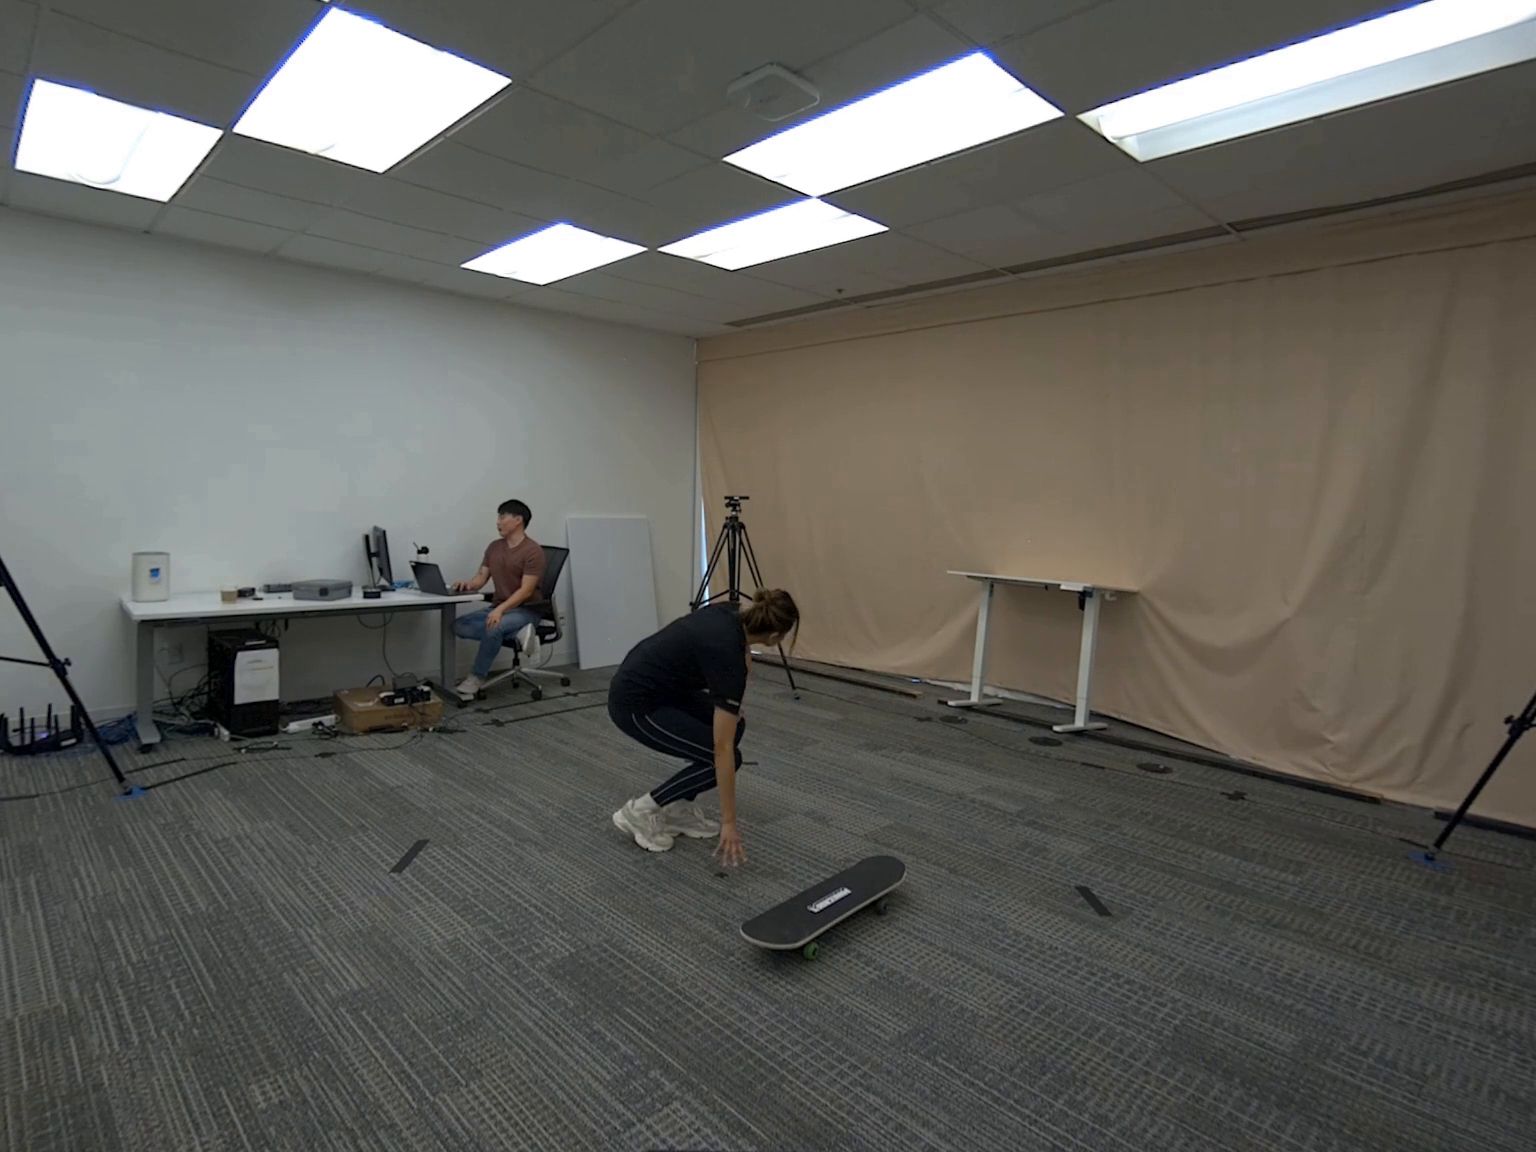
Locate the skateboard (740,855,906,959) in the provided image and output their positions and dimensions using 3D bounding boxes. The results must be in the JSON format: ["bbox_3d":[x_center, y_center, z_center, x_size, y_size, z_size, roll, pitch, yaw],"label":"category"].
[{"bbox_3d":[0.198,1.087,2.739,0.198,0.110,0.768,5,7,40],"label":"skateboard"}]
